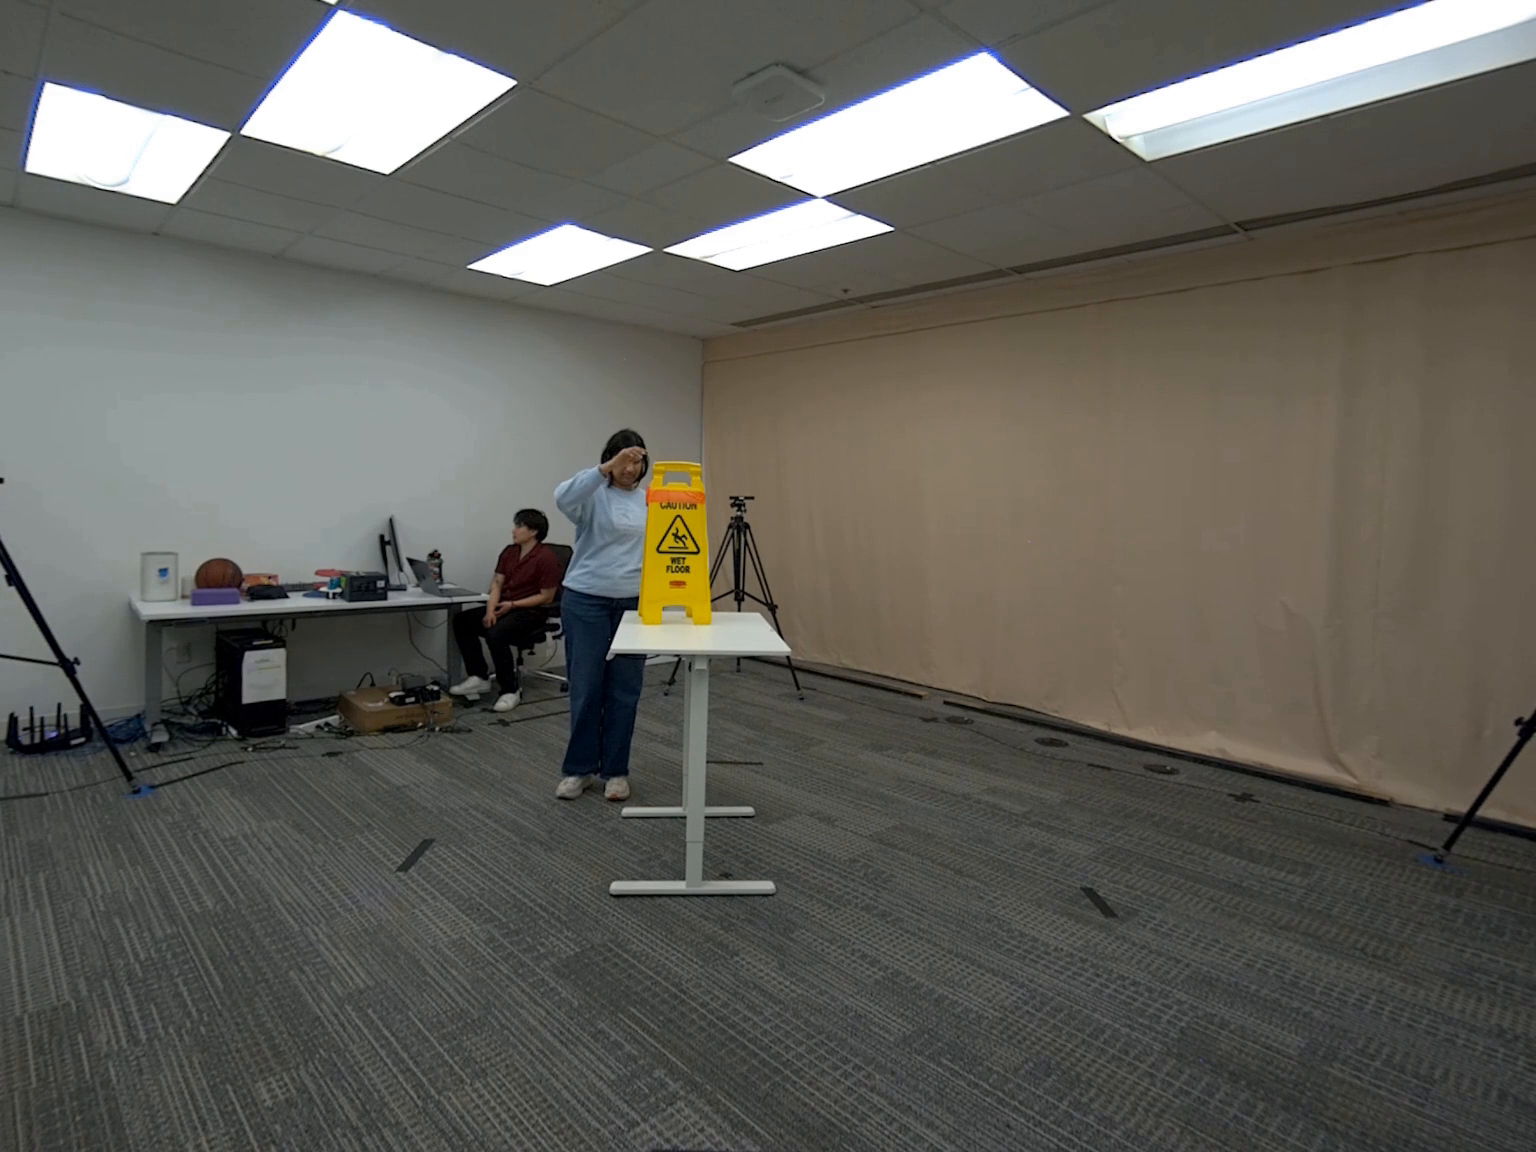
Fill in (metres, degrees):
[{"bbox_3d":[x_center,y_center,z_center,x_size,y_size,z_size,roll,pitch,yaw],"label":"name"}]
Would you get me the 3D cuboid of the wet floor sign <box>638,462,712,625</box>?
[{"bbox_3d":[-0.387,-0.139,3.460,0.280,0.644,0.293,1,3,-10],"label":"wet floor sign"}]
